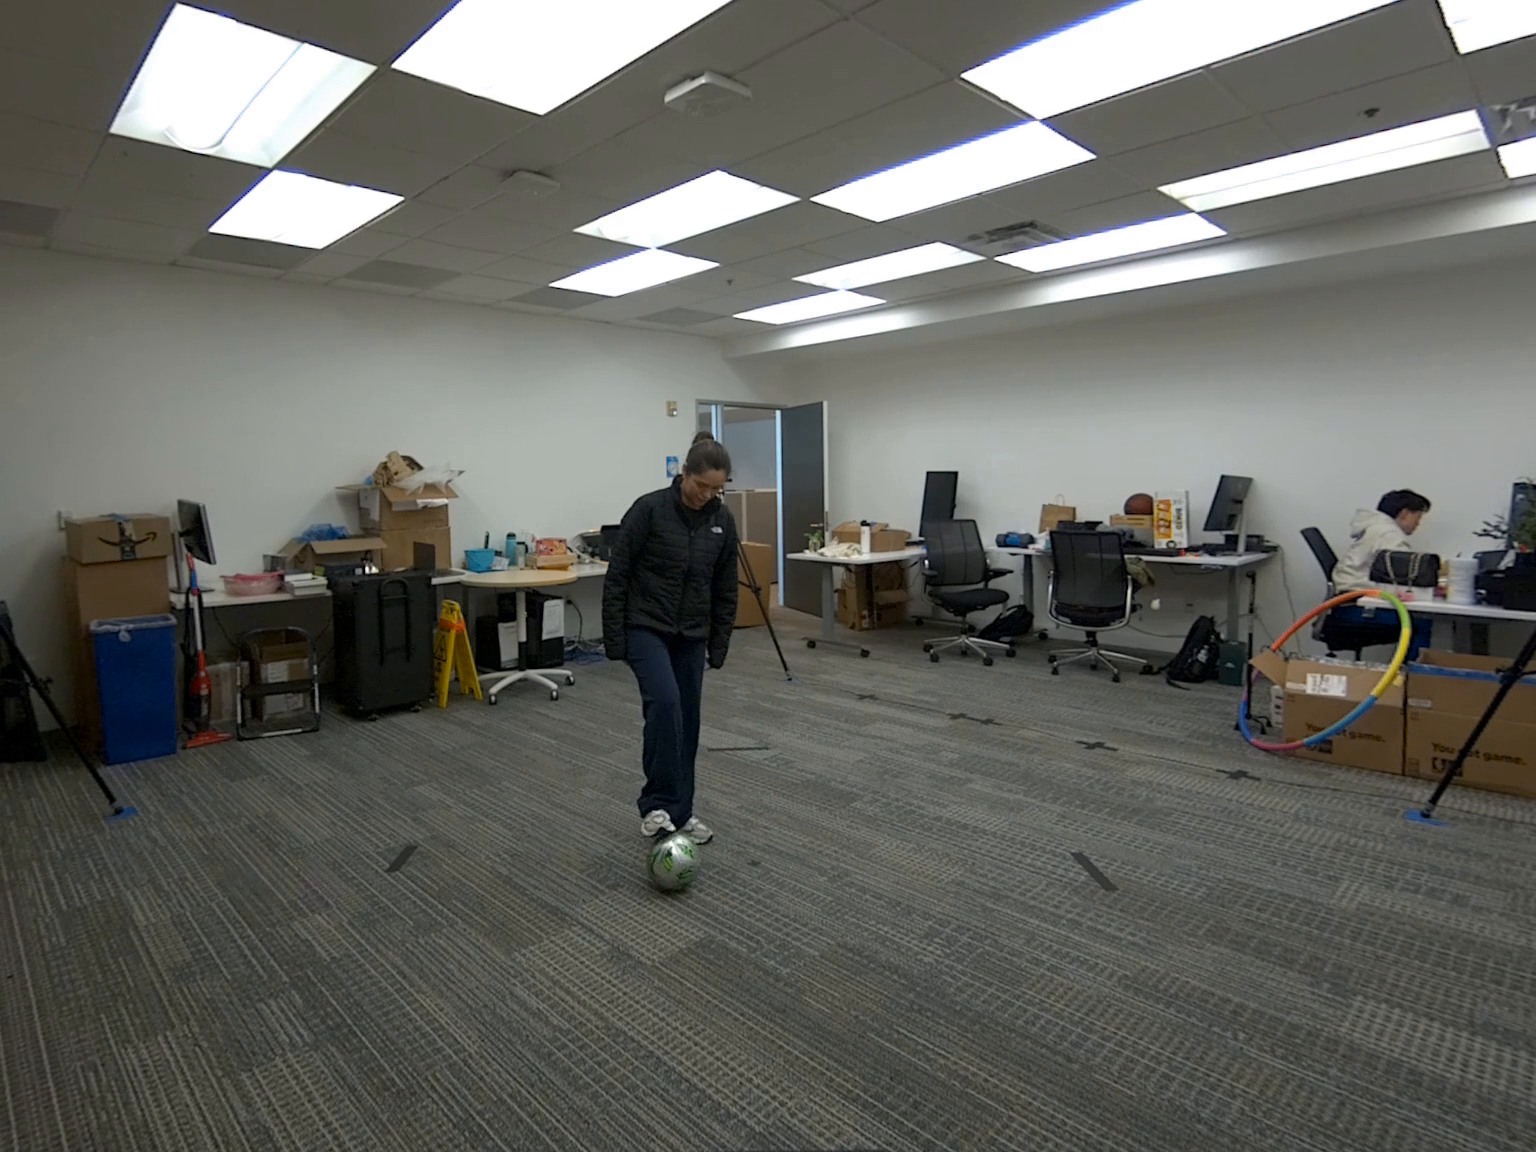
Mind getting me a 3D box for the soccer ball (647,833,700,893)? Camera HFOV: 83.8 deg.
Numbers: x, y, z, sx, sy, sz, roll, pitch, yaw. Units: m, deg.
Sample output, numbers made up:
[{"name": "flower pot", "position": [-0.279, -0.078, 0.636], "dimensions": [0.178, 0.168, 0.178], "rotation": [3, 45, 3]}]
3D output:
[{"name": "soccer ball", "position": [-0.315, 0.983, 2.924], "dimensions": [0.187, 0.187, 0.188], "rotation": [-1, 5, -2]}]
